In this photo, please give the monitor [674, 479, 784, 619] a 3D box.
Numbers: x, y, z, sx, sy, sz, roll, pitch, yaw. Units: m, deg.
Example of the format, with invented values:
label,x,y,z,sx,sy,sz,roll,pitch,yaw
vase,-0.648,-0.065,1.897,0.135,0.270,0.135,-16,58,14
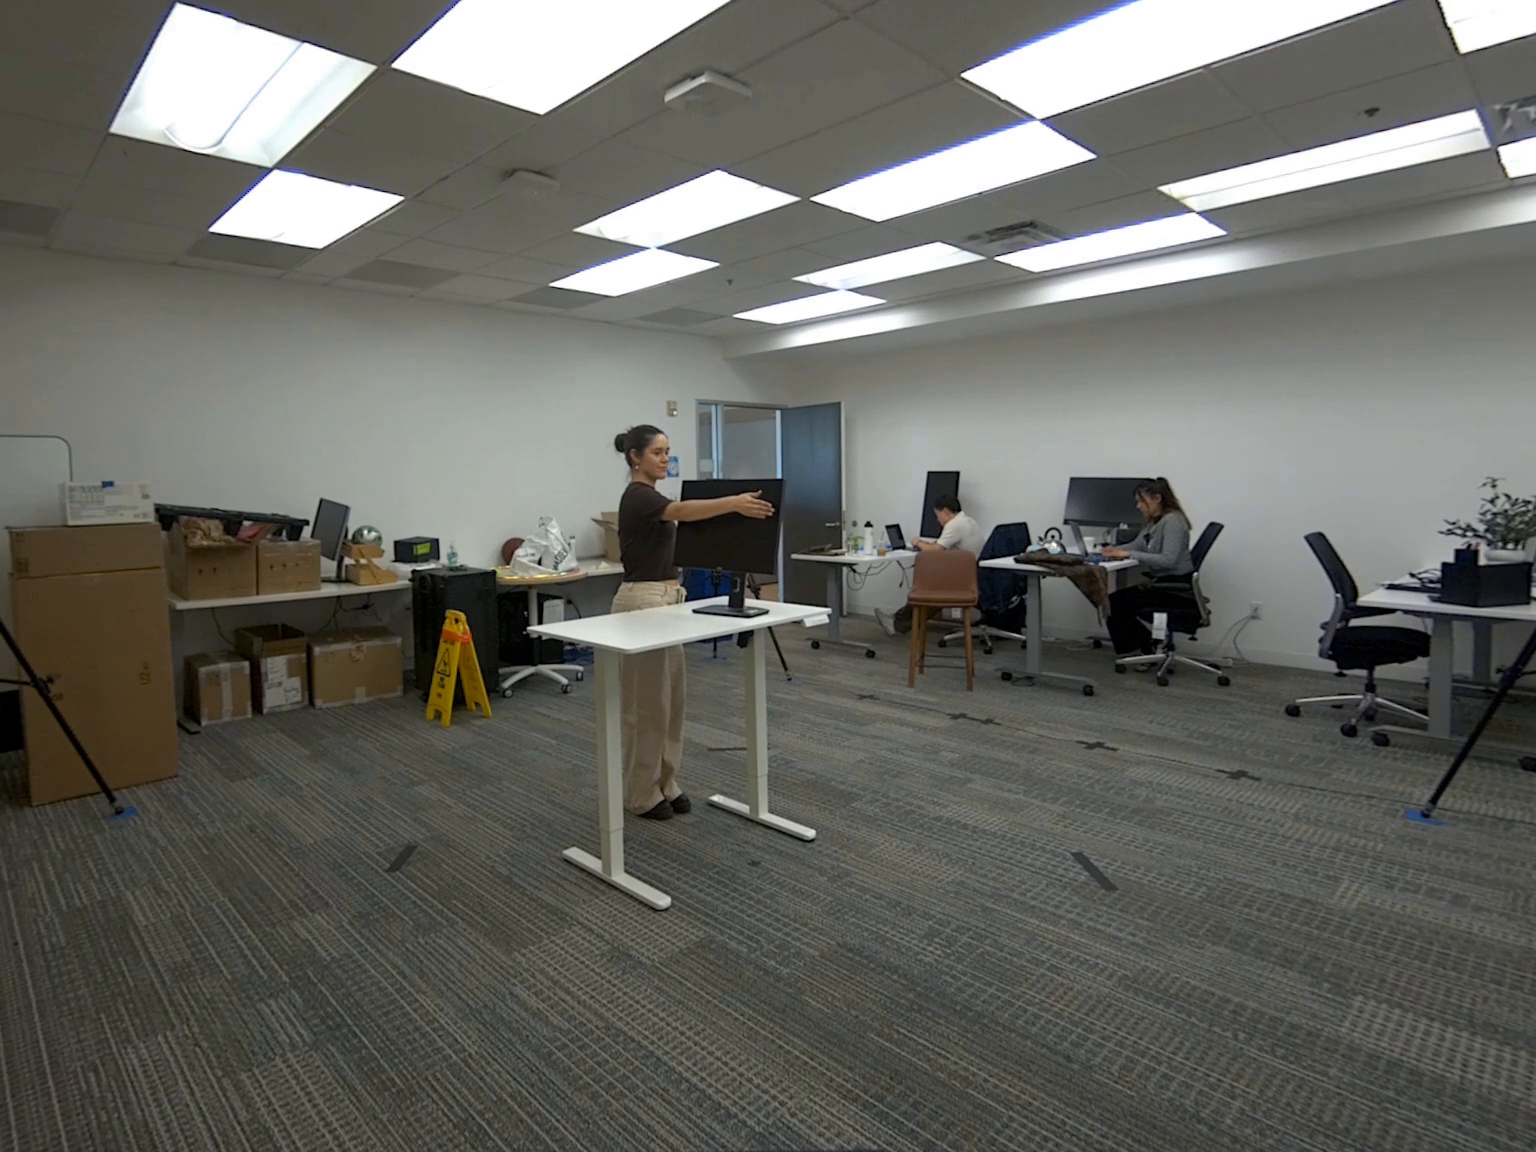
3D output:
label,x,y,z,sx,sy,sz,roll,pitch,yaw
monitor,-0.140,-0.108,3.278,0.555,0.520,0.182,4,6,42
